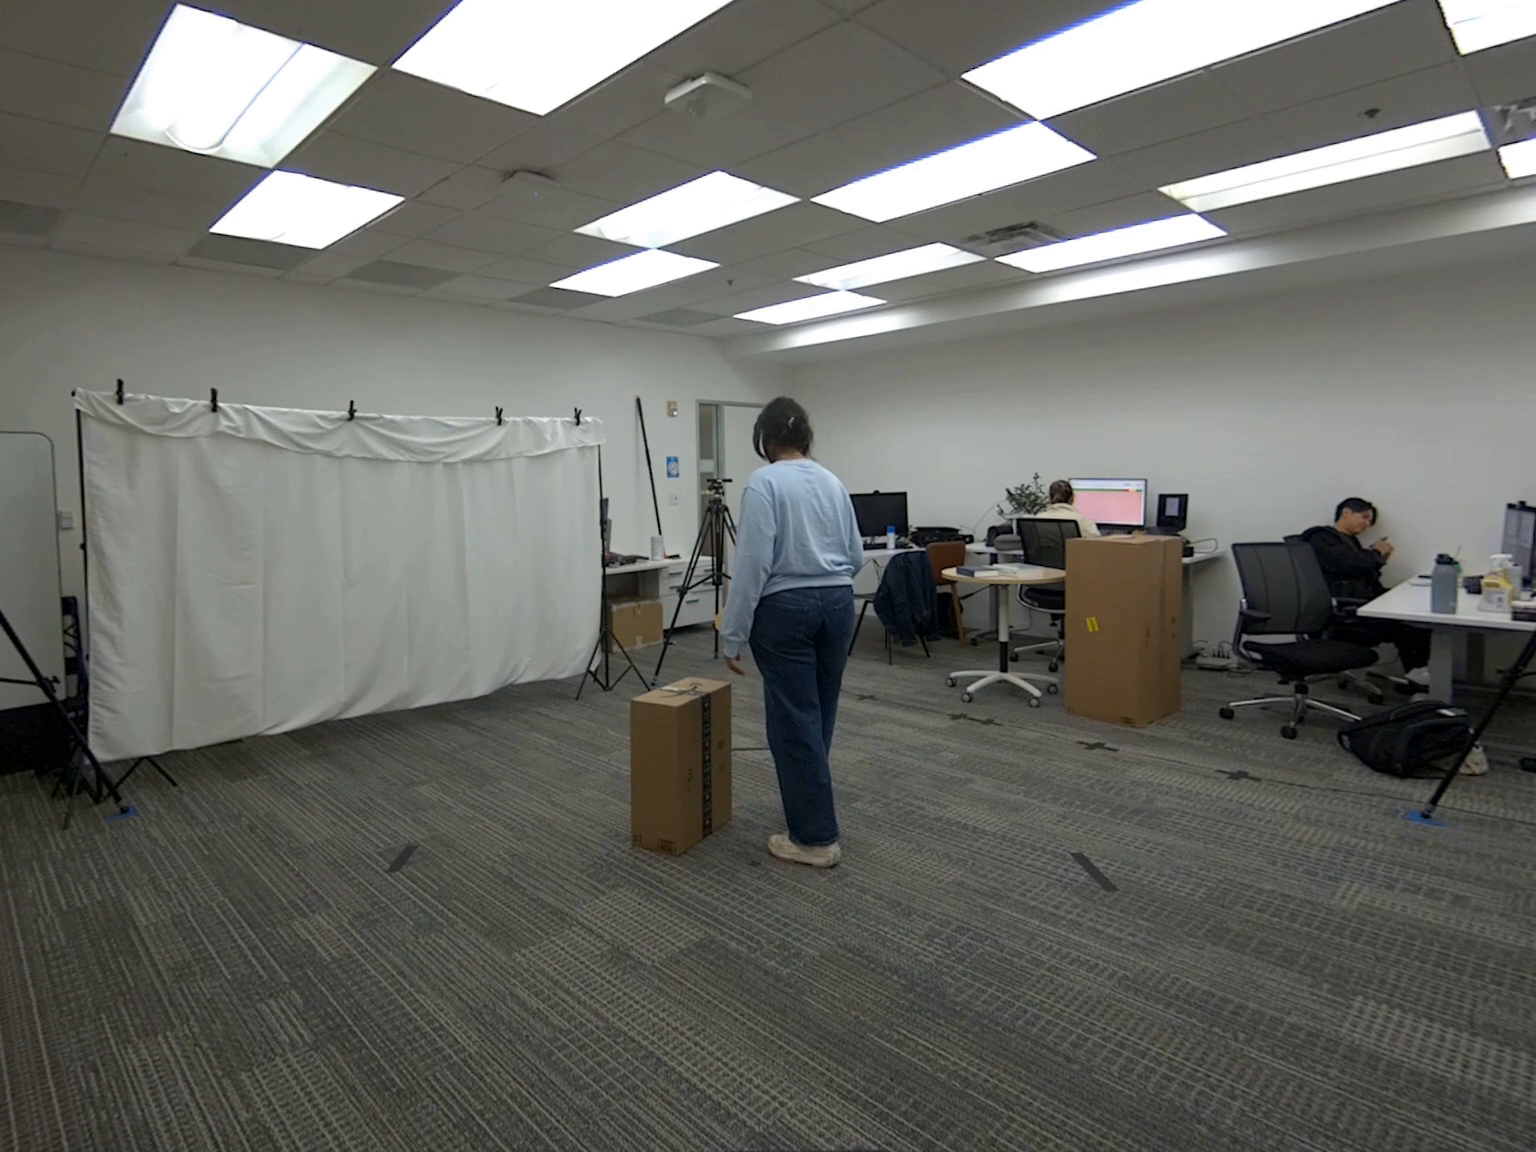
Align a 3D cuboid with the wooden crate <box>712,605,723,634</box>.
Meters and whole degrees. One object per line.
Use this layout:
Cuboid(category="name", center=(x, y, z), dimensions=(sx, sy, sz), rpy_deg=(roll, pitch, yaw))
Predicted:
Cuboid(category="wooden crate", center=(-0.008, 0.123, 3.575), dimensions=(0.316, 0.271, 0.312), rpy_deg=(3, 11, -32))
